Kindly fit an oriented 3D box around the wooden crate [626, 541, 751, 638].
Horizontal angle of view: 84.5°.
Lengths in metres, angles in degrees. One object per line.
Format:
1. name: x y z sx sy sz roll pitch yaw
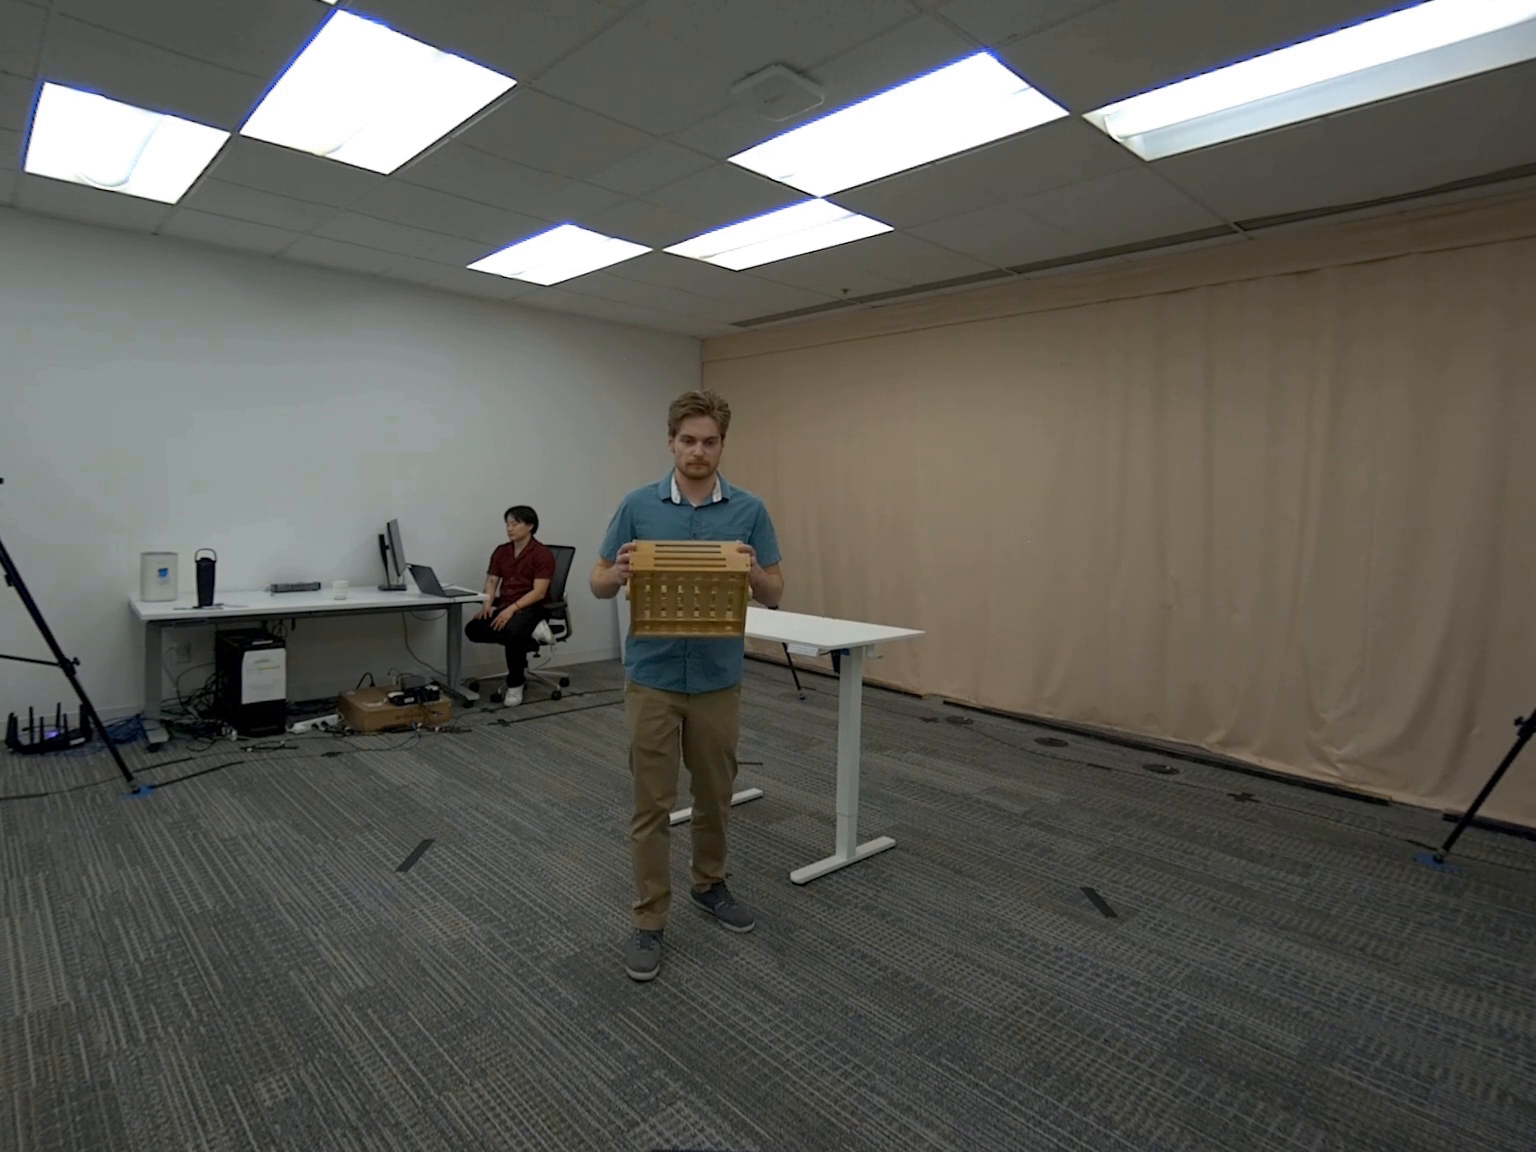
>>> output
1. wooden crate: -0.223 0.004 2.266 0.323 0.296 0.280 1 38 -7
